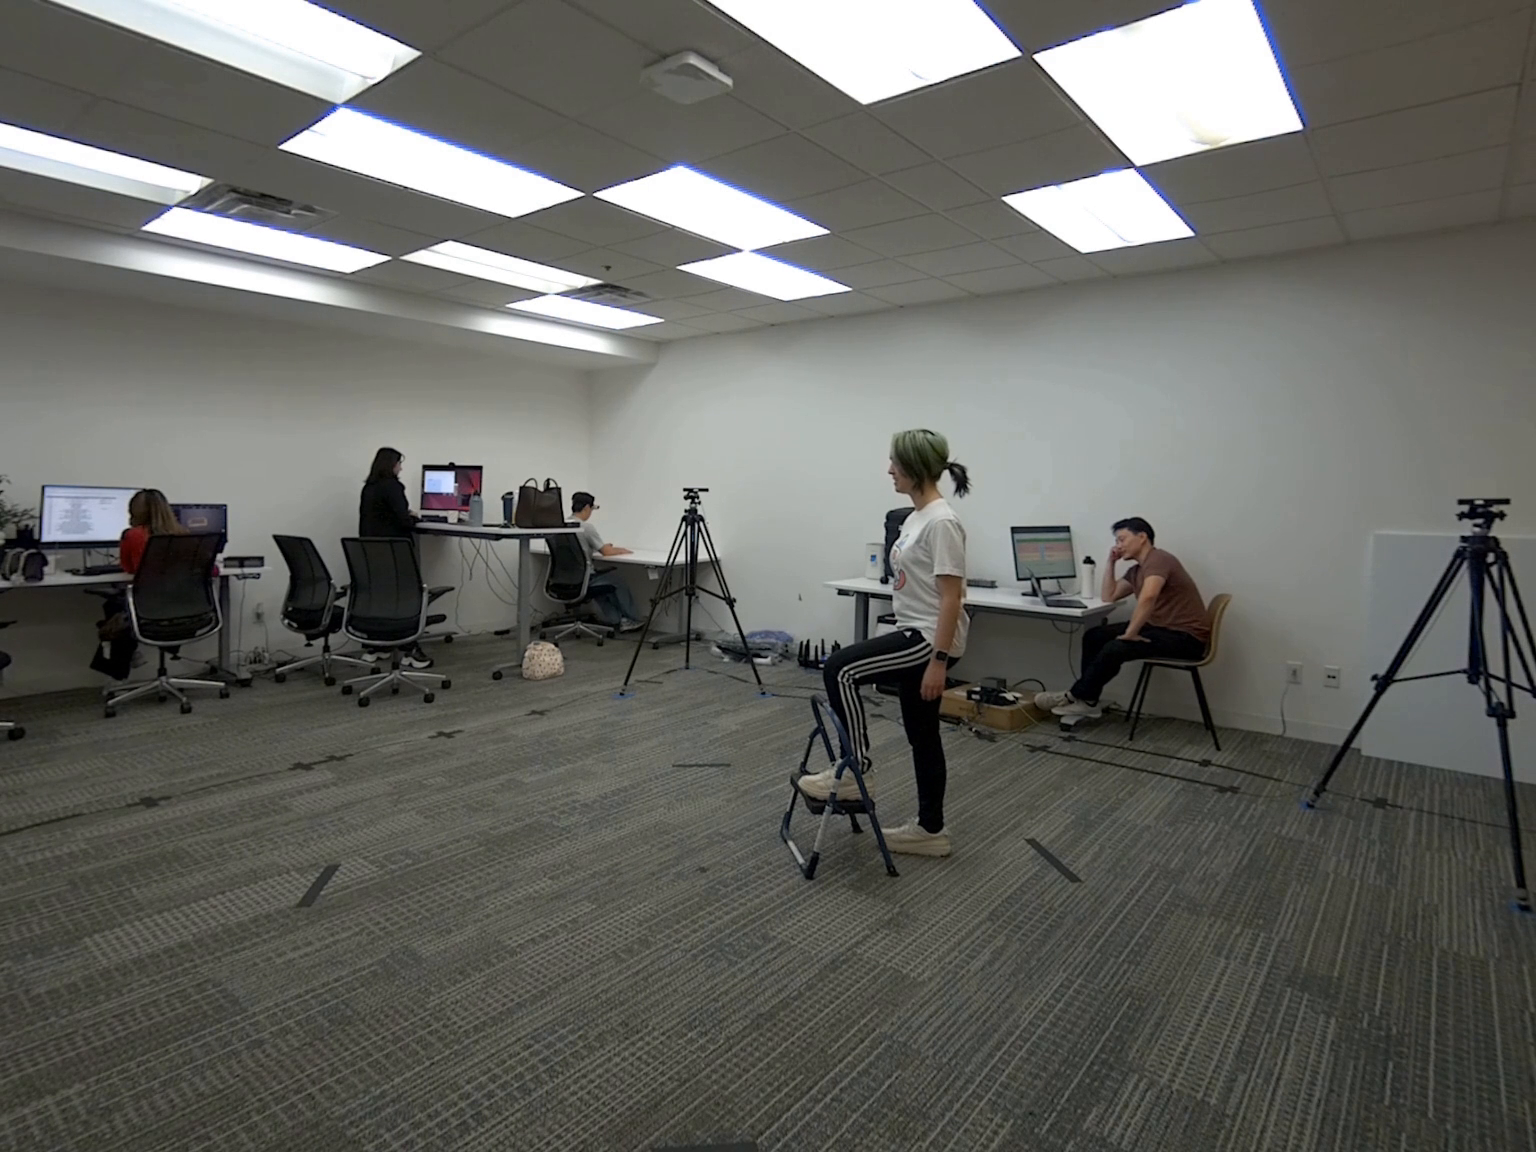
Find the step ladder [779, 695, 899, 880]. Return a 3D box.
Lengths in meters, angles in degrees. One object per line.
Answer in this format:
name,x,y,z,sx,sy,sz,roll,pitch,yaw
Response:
step ladder,0.259,0.770,3.258,0.345,0.604,0.437,1,4,-12
